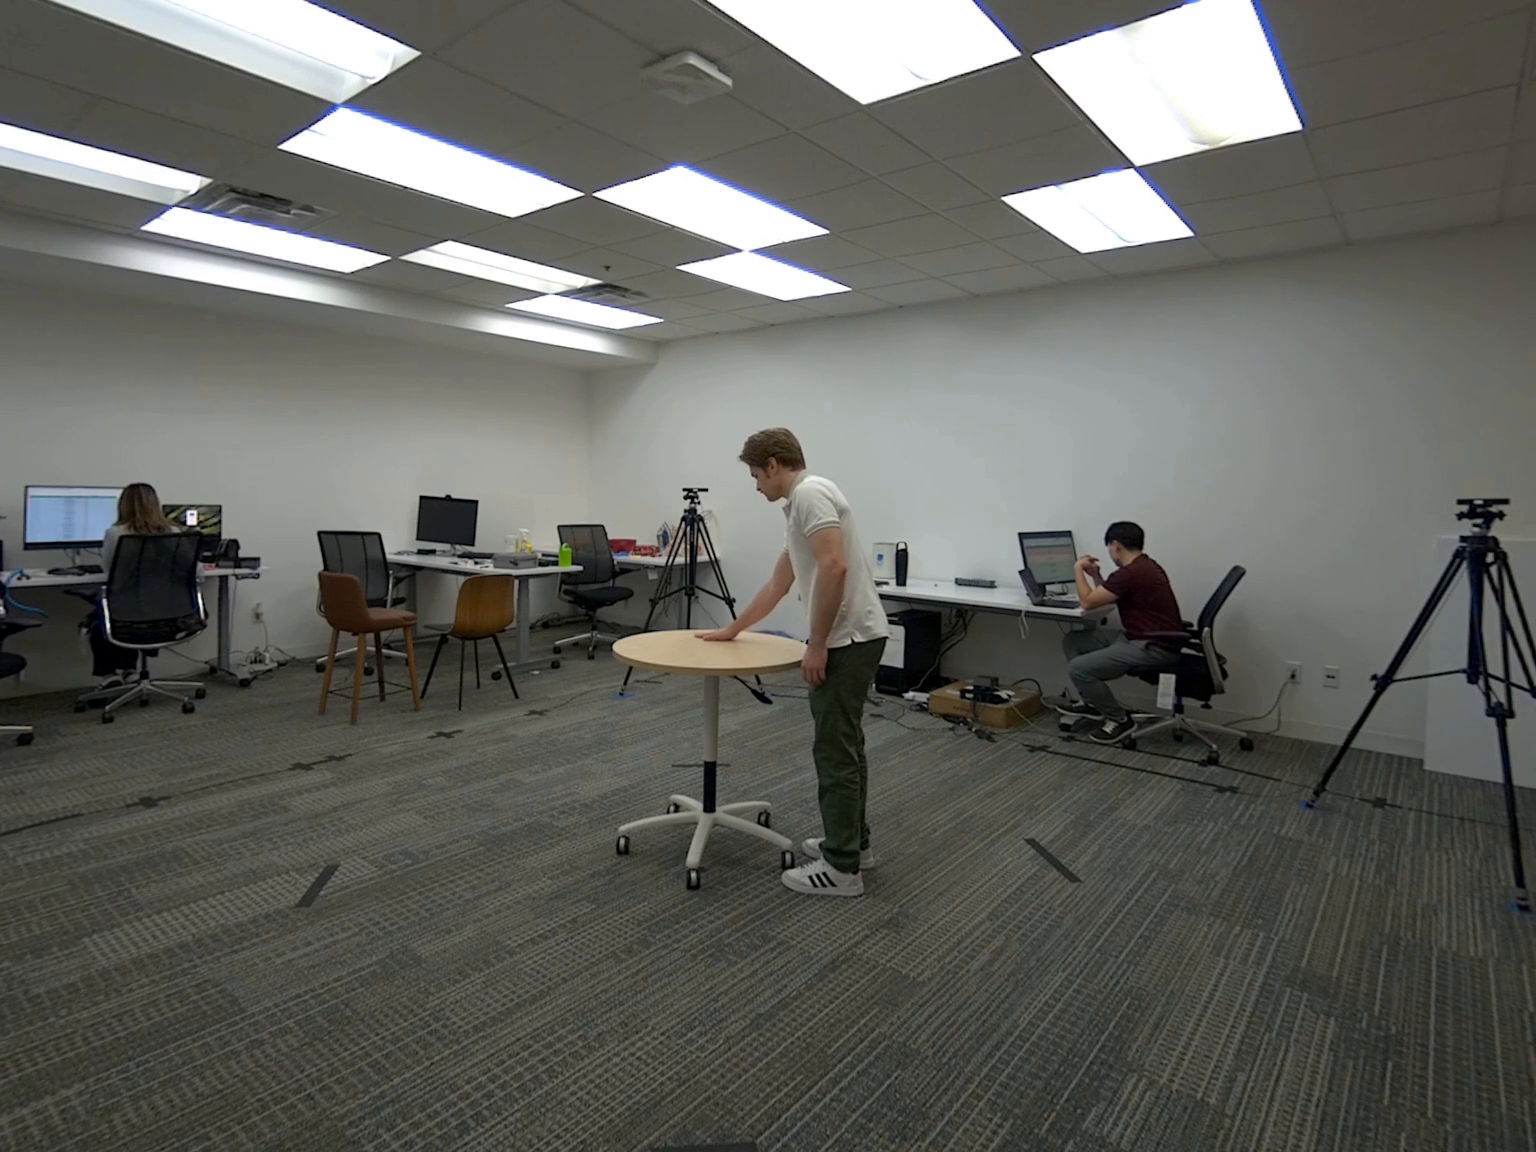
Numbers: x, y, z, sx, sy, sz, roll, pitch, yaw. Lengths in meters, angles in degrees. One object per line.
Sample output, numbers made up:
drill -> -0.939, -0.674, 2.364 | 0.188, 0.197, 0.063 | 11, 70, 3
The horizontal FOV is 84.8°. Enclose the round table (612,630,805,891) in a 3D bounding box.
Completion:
round table -> -0.241, 0.656, 3.305 | 0.784, 0.784, 0.789 | 1, 5, -2
